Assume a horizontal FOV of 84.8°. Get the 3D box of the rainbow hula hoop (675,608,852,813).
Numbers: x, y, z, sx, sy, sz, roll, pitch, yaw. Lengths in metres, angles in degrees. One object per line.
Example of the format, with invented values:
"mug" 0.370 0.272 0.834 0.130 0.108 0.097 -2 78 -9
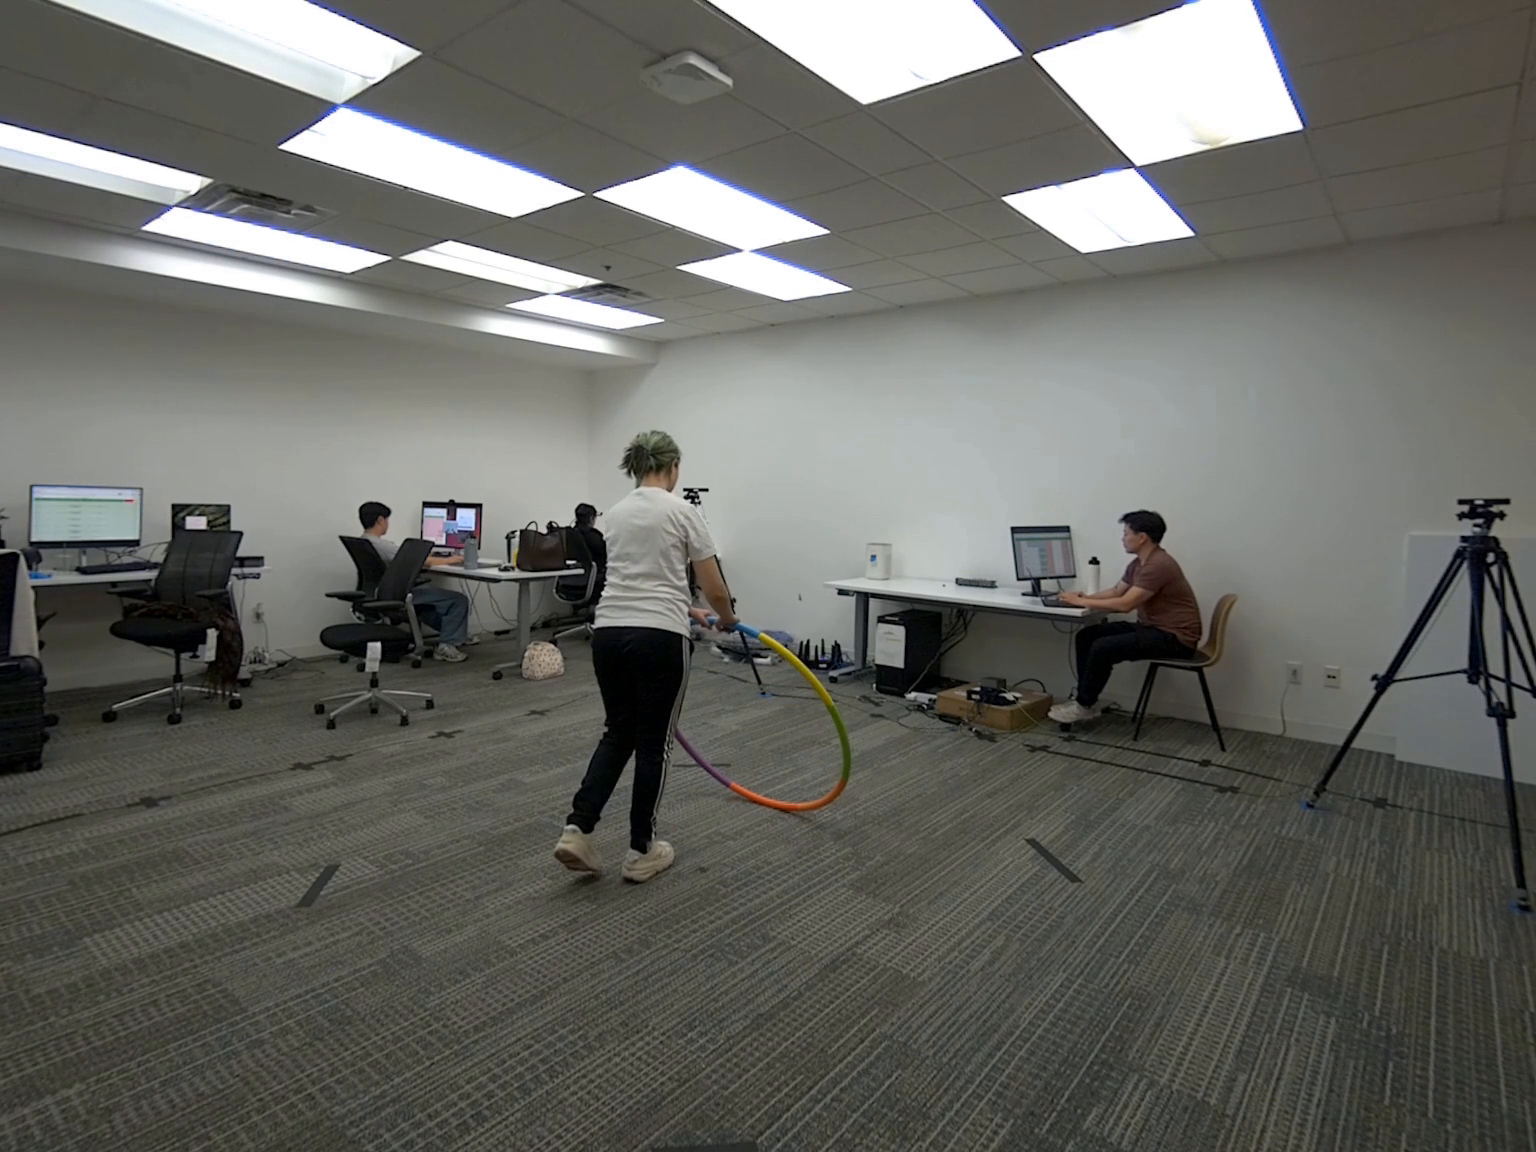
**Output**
"rainbow hula hoop" -0.112 0.589 3.562 1.011 0.953 0.035 5 31 38
